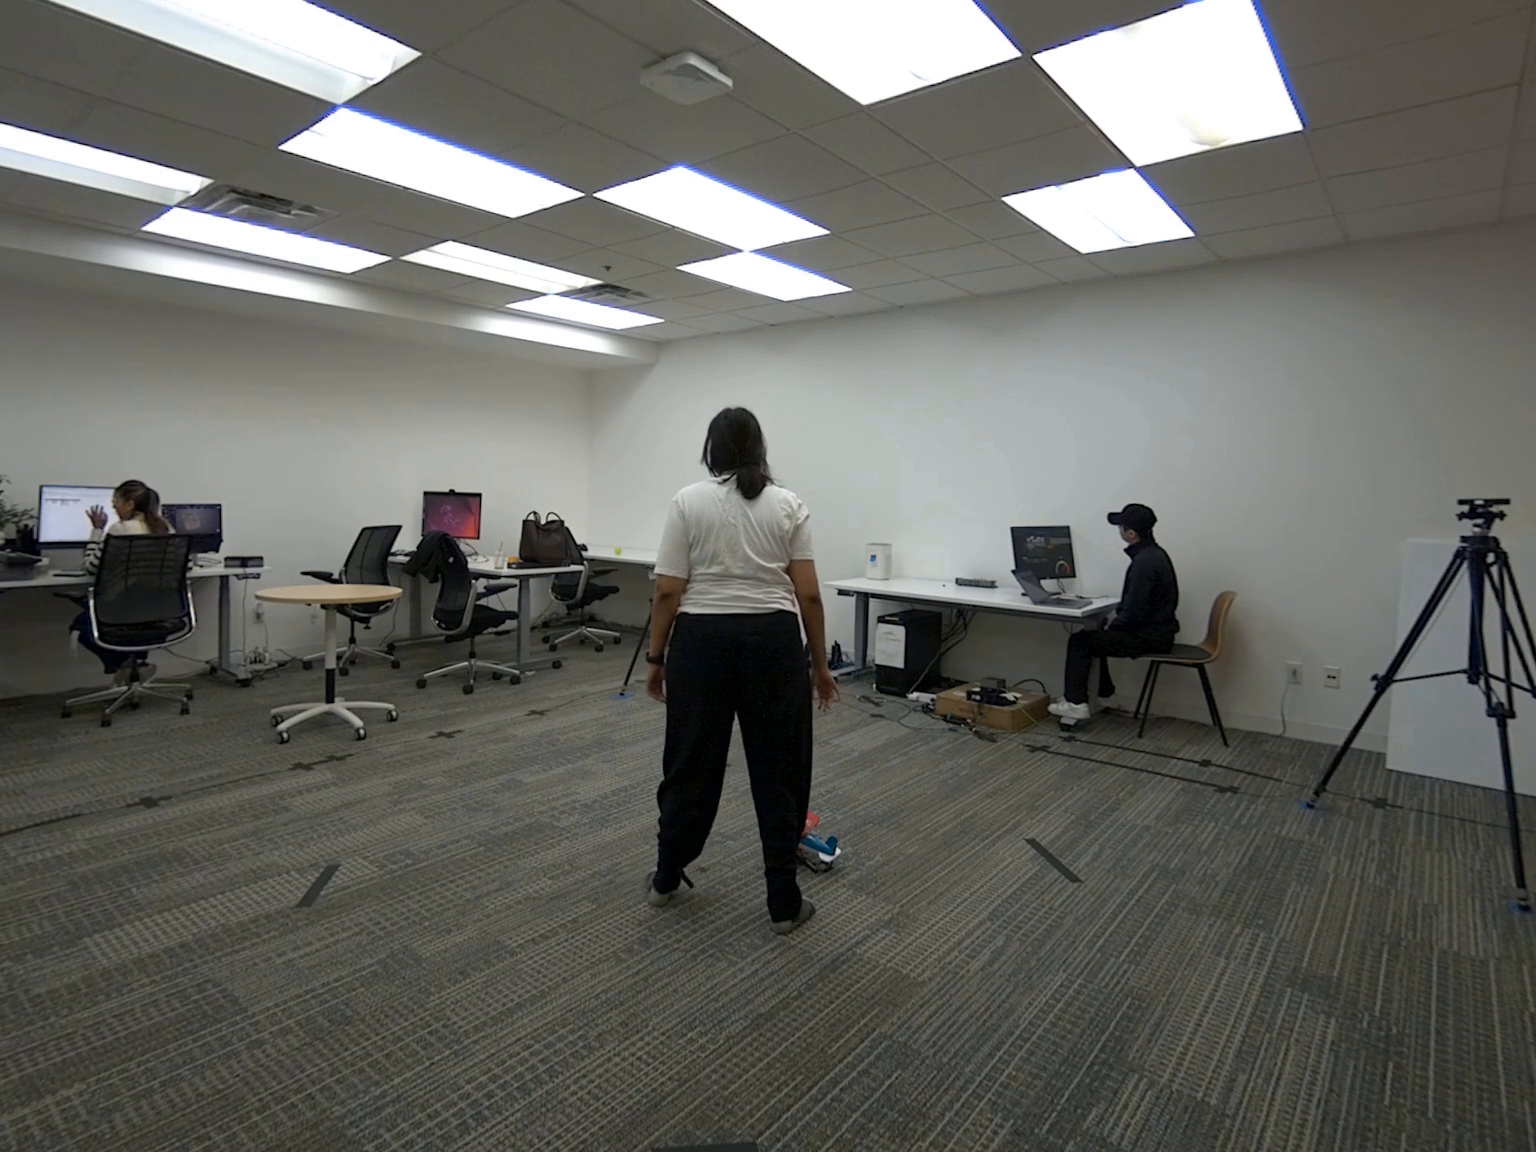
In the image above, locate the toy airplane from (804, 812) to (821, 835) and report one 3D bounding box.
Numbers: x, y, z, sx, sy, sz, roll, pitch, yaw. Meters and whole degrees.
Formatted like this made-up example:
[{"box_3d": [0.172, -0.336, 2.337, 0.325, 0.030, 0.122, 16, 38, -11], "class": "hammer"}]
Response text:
[{"box_3d": [0.139, 0.985, 3.200, 0.260, 0.156, 0.251, 0, 4, 3], "class": "toy airplane"}]
